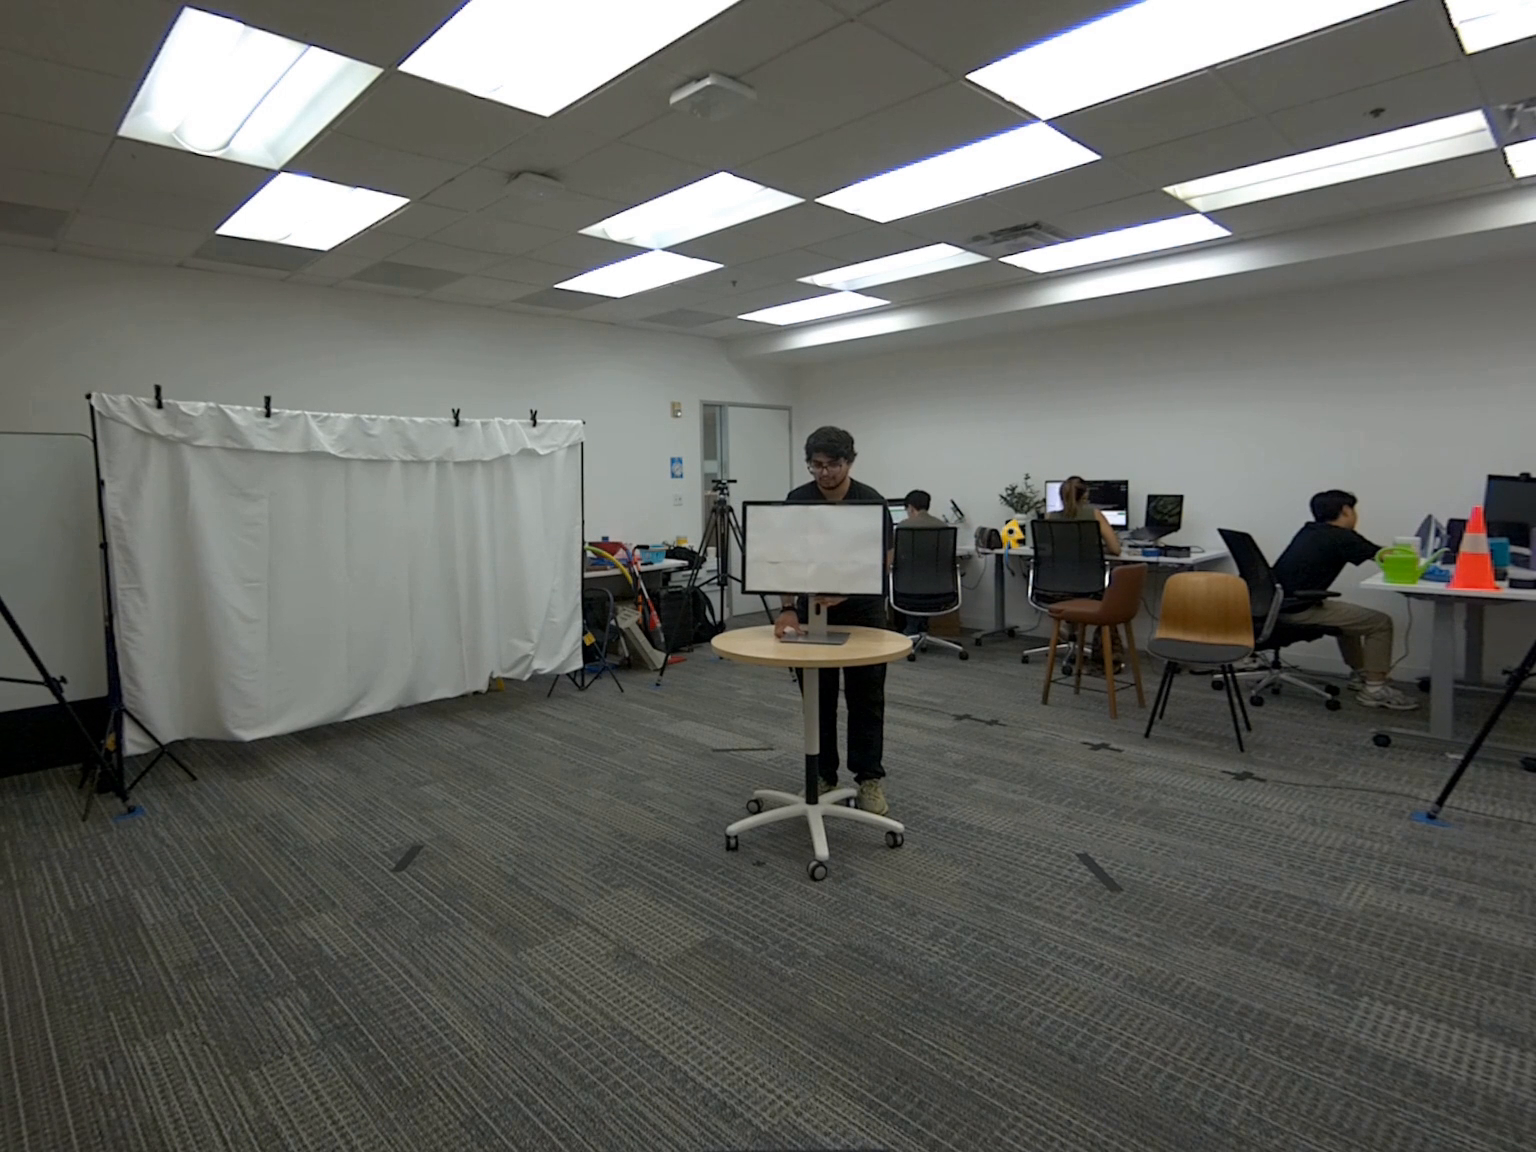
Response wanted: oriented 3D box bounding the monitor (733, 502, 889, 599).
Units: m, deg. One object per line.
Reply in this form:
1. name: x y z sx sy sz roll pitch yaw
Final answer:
1. monitor: 0.188 -0.020 3.303 0.576 0.553 0.206 1 2 19
